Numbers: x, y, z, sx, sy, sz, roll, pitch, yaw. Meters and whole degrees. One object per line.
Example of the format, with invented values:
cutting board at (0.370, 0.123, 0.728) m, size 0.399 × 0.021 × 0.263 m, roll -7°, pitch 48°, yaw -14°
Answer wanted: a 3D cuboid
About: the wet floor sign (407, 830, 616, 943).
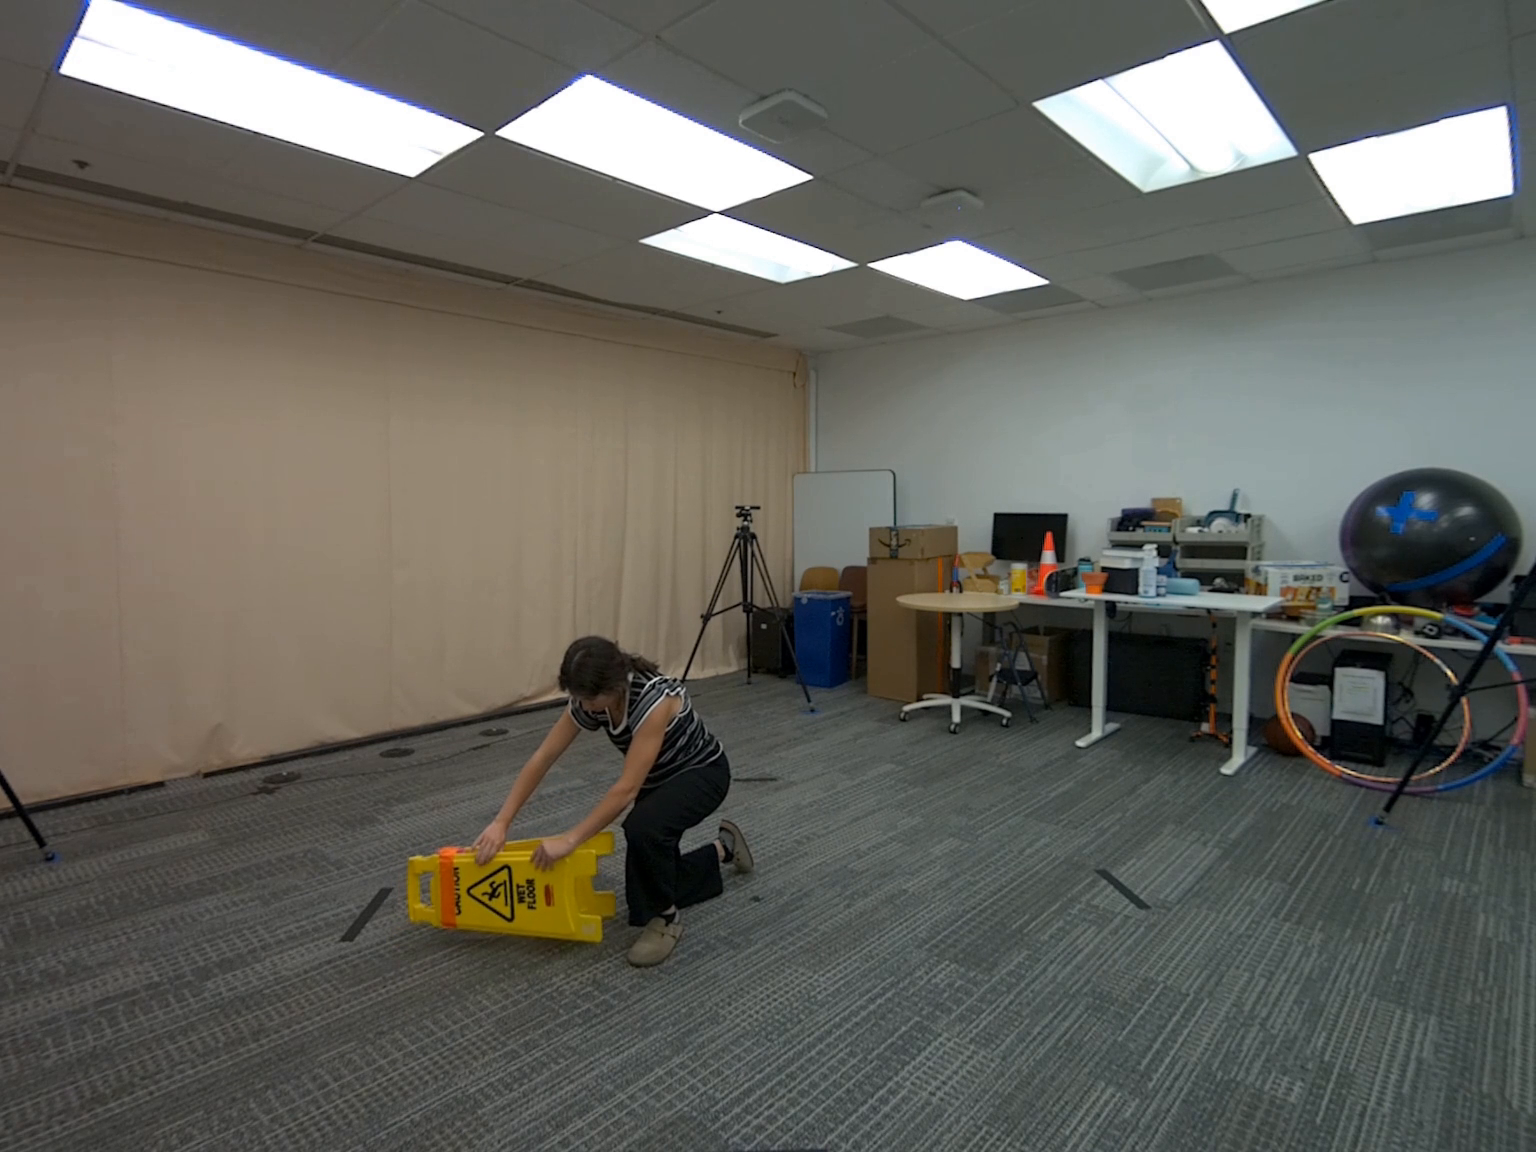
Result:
wet floor sign at (-0.841, 0.998, 2.679) m, size 0.649 × 0.283 × 0.288 m, roll -3°, pitch -3°, yaw 4°
